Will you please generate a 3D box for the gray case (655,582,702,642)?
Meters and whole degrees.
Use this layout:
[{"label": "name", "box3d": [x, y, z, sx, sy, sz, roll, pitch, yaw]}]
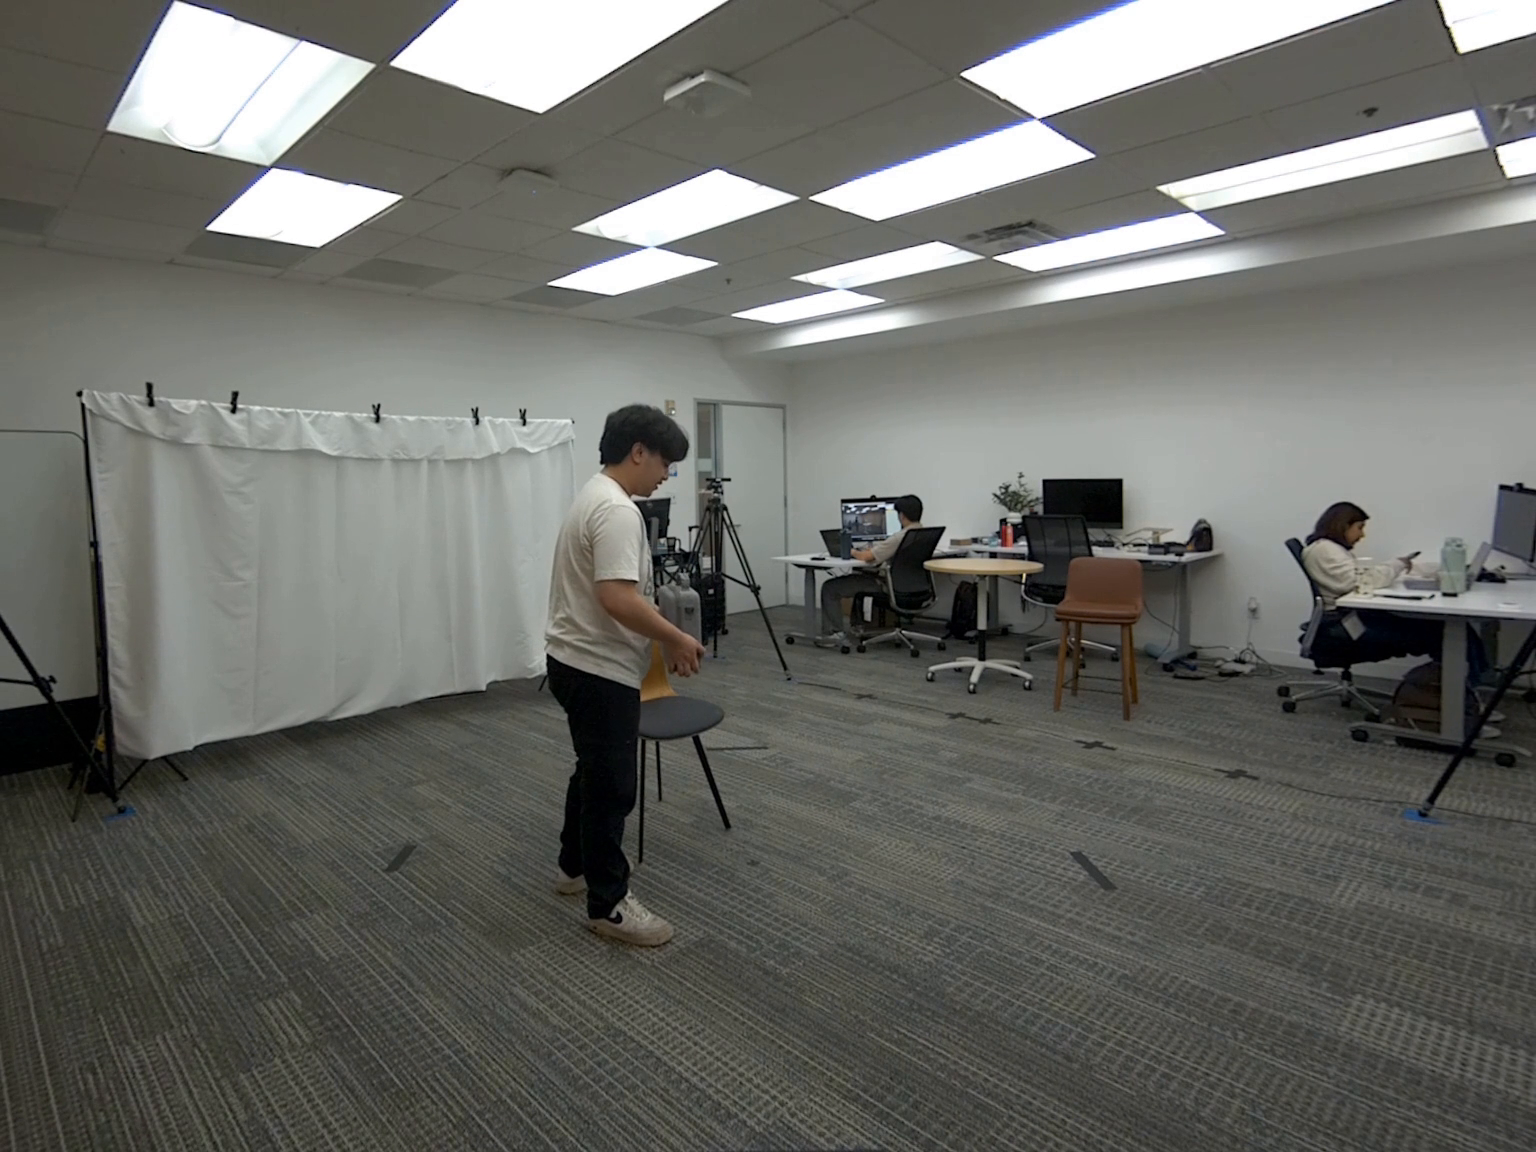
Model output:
[{"label": "gray case", "box3d": [-0.284, 0.152, 2.733, 0.103, 0.259, 0.262, 0, 7, -17]}]
